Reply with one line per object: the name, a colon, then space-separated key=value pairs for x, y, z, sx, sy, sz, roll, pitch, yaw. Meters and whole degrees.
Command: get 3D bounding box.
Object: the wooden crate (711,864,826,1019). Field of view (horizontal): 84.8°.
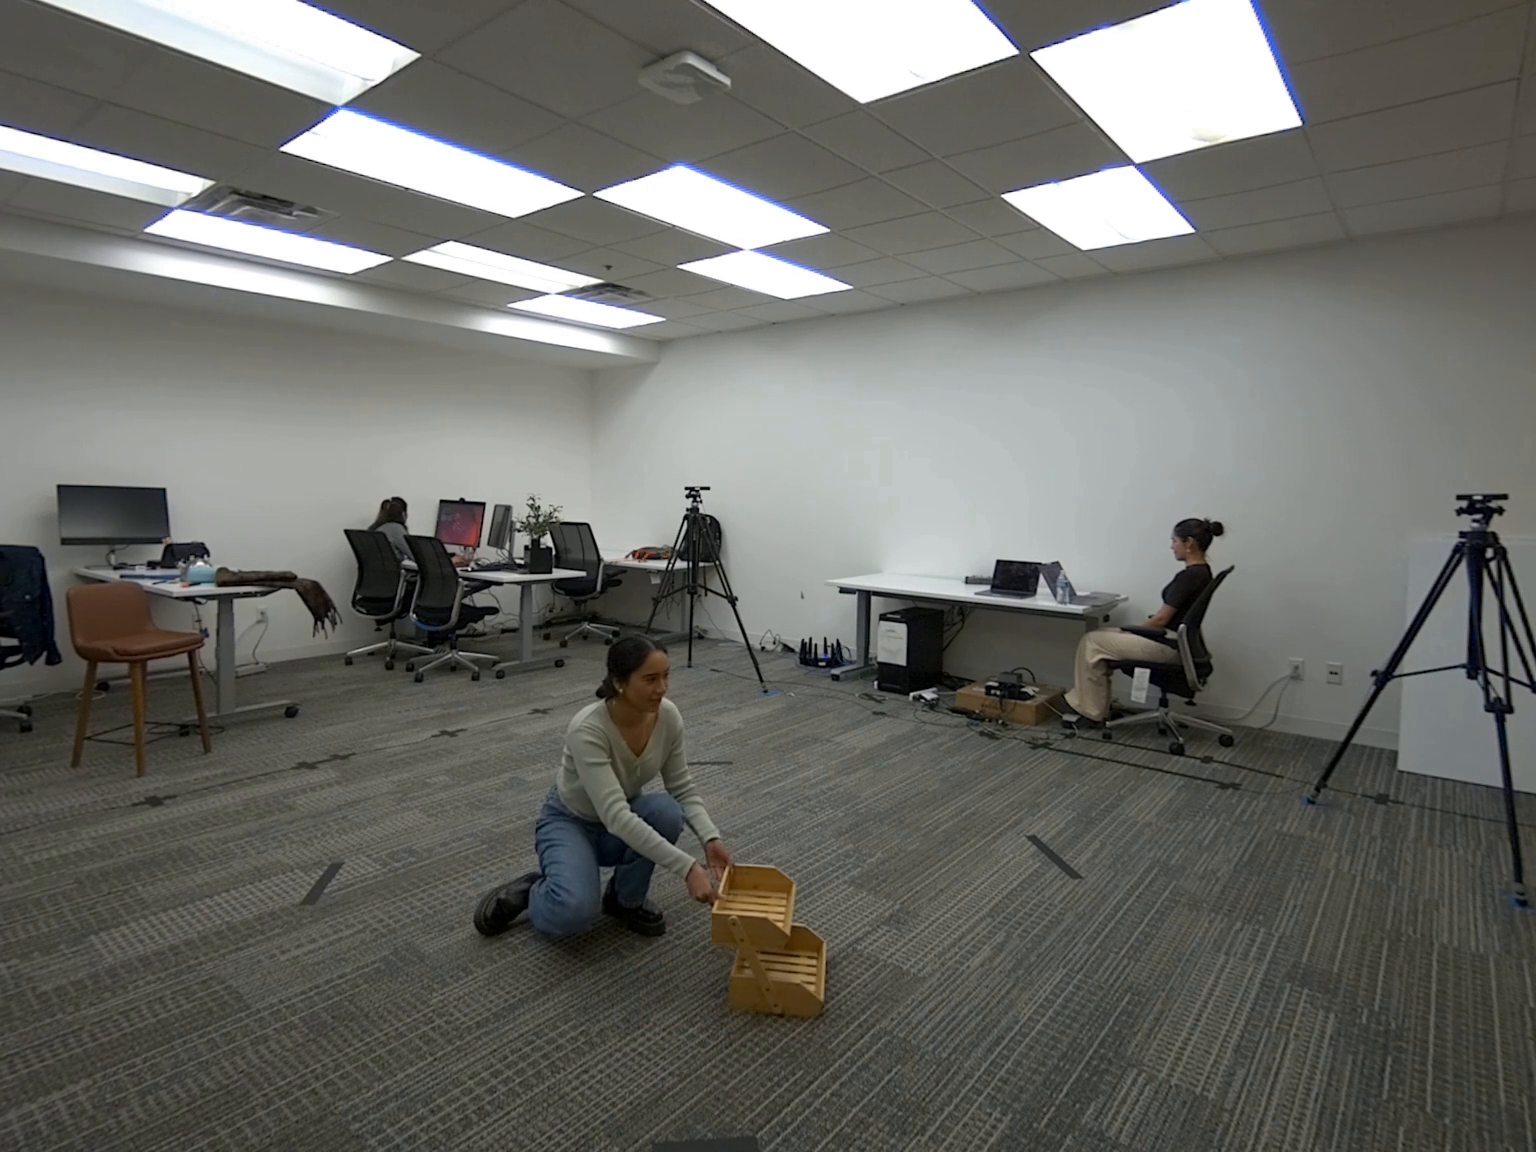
wooden crate: x=0.009 y=1.009 z=2.393 sx=0.305 sy=0.272 sz=0.323 roll=1 pitch=5 yaw=7
